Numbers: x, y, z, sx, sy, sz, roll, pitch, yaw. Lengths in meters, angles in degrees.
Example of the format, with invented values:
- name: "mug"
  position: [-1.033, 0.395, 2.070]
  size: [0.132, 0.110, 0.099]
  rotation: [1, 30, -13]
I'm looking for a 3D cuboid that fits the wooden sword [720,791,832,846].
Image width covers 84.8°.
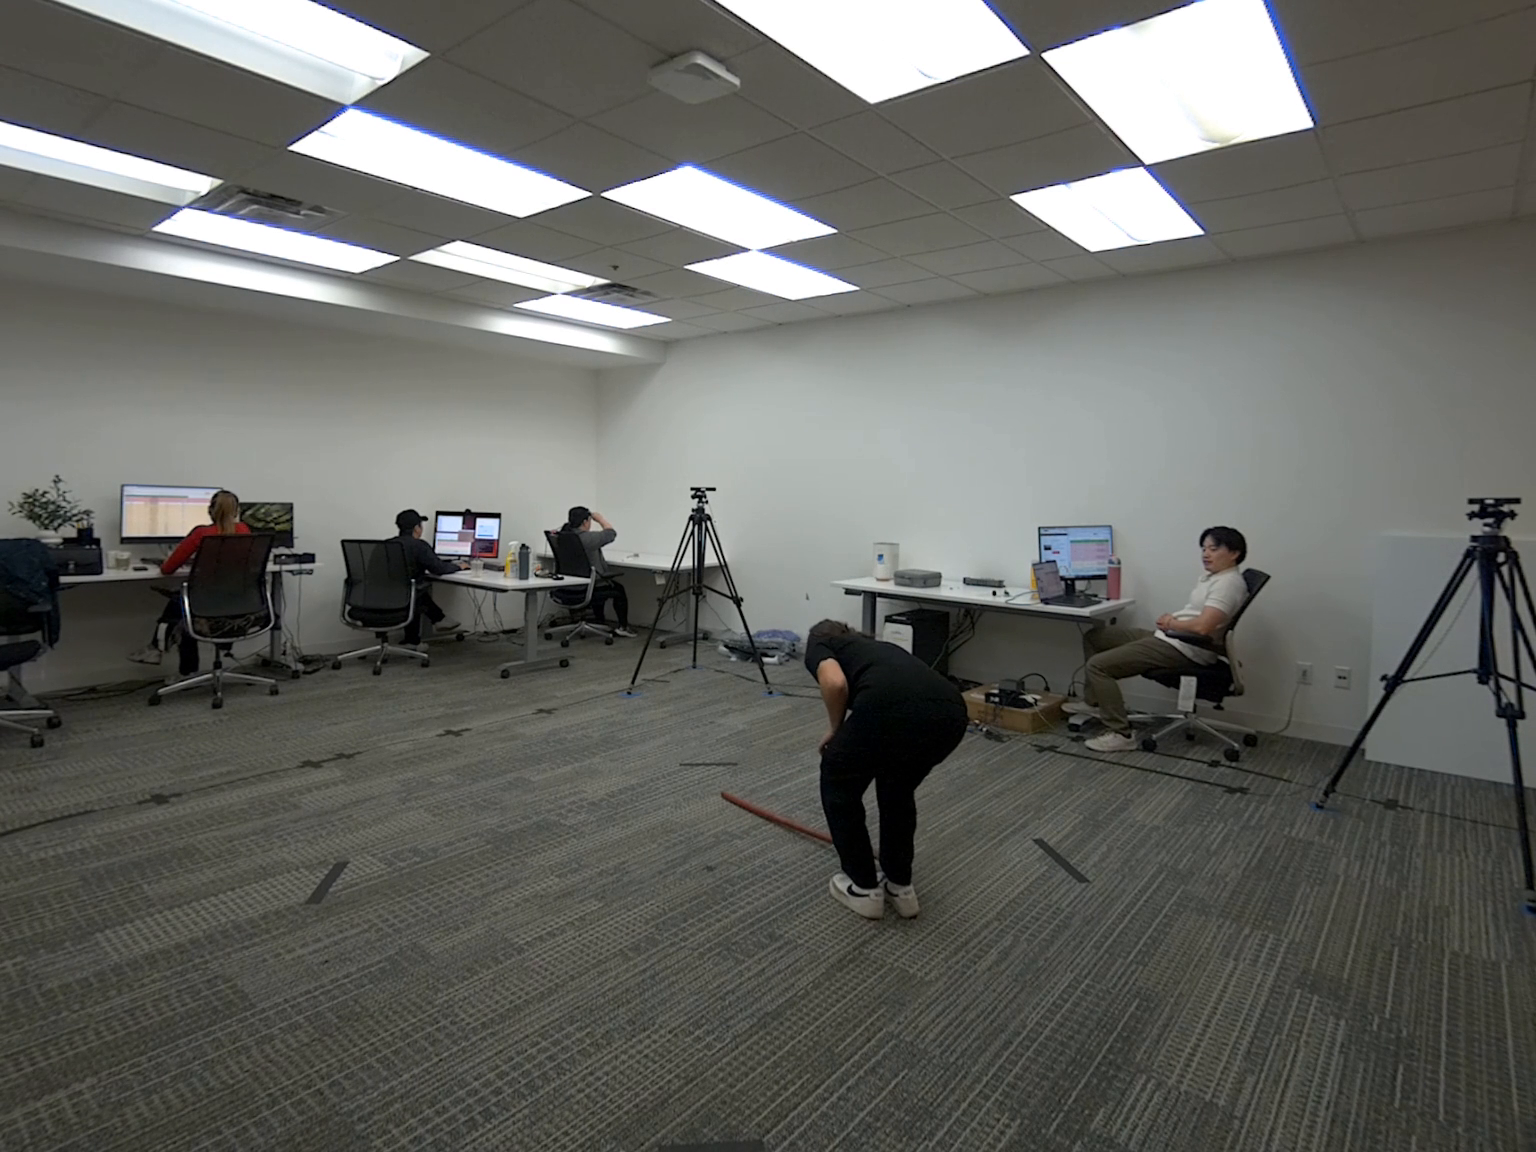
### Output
- name: "wooden sword"
  position: [0.110, 1.008, 3.438]
  size: [0.050, 0.023, 1.058]
  rotation: [-31, 22, -33]
